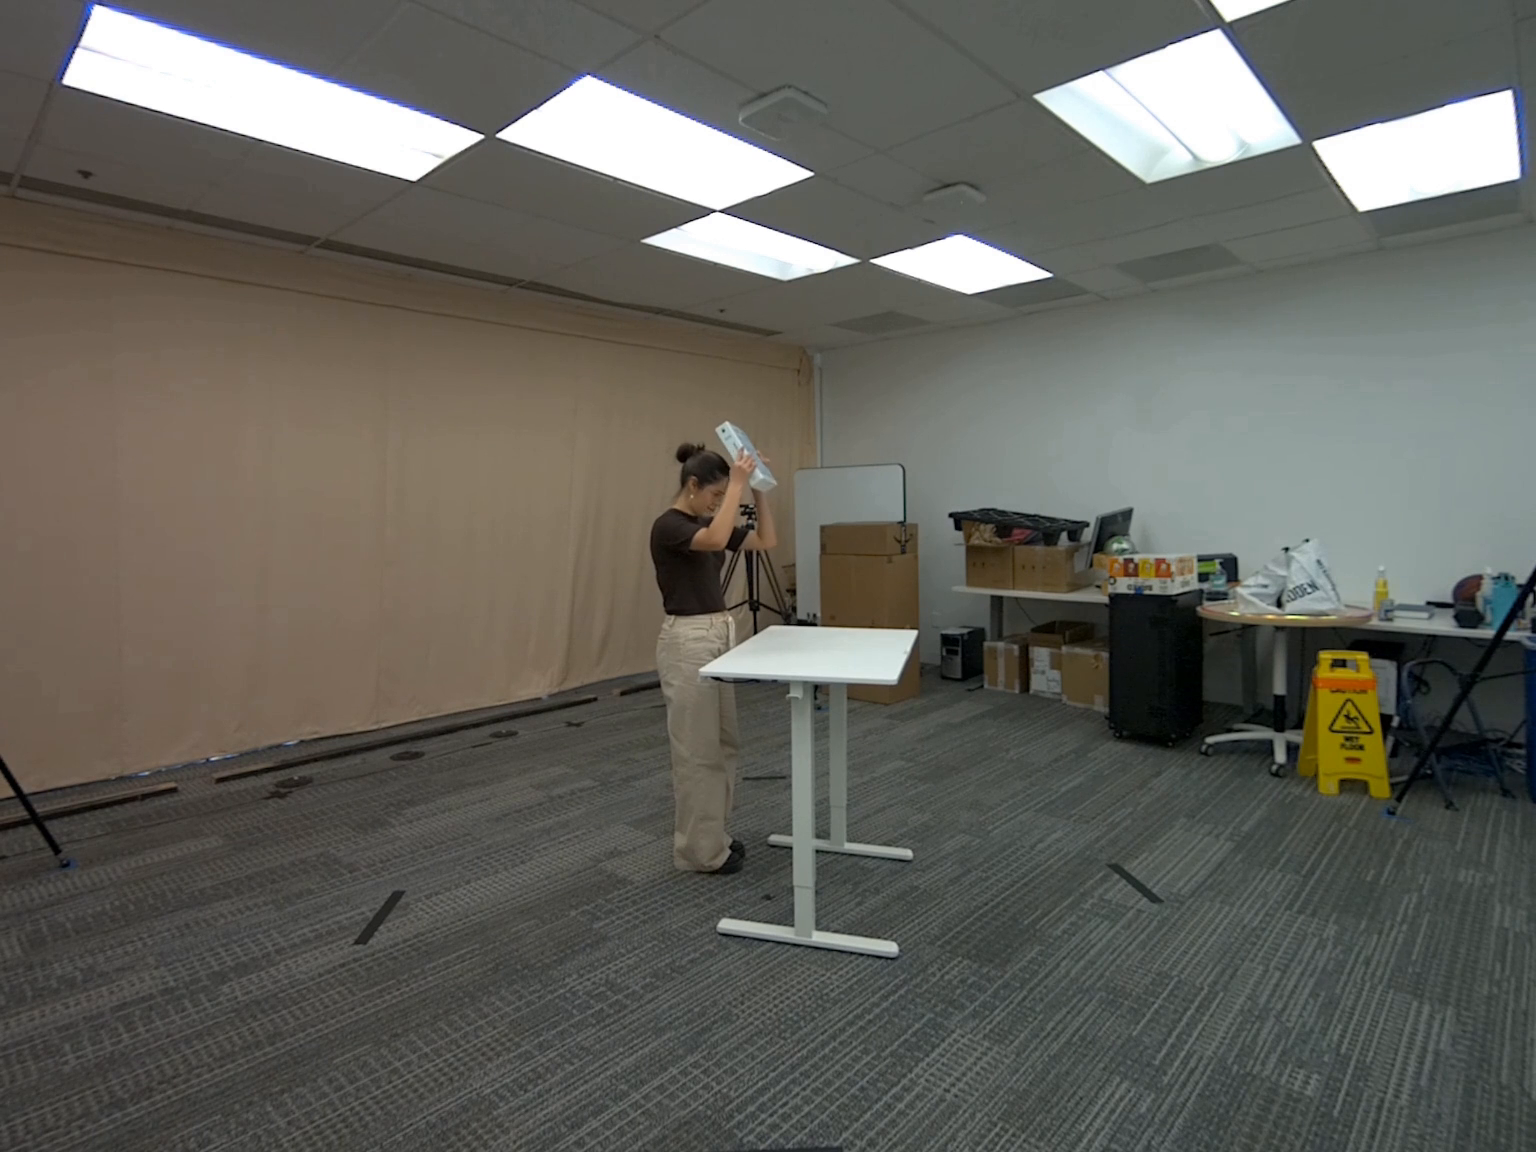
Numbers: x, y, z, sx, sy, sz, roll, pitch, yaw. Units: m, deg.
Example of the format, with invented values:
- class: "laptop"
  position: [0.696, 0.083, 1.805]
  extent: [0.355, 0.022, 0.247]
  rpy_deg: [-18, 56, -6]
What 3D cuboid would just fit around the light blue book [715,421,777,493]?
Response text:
- class: "light blue book"
  position: [-0.075, -0.434, 3.163]
  extent: [0.059, 0.265, 0.187]
  rpy_deg: [-35, -14, 14]
